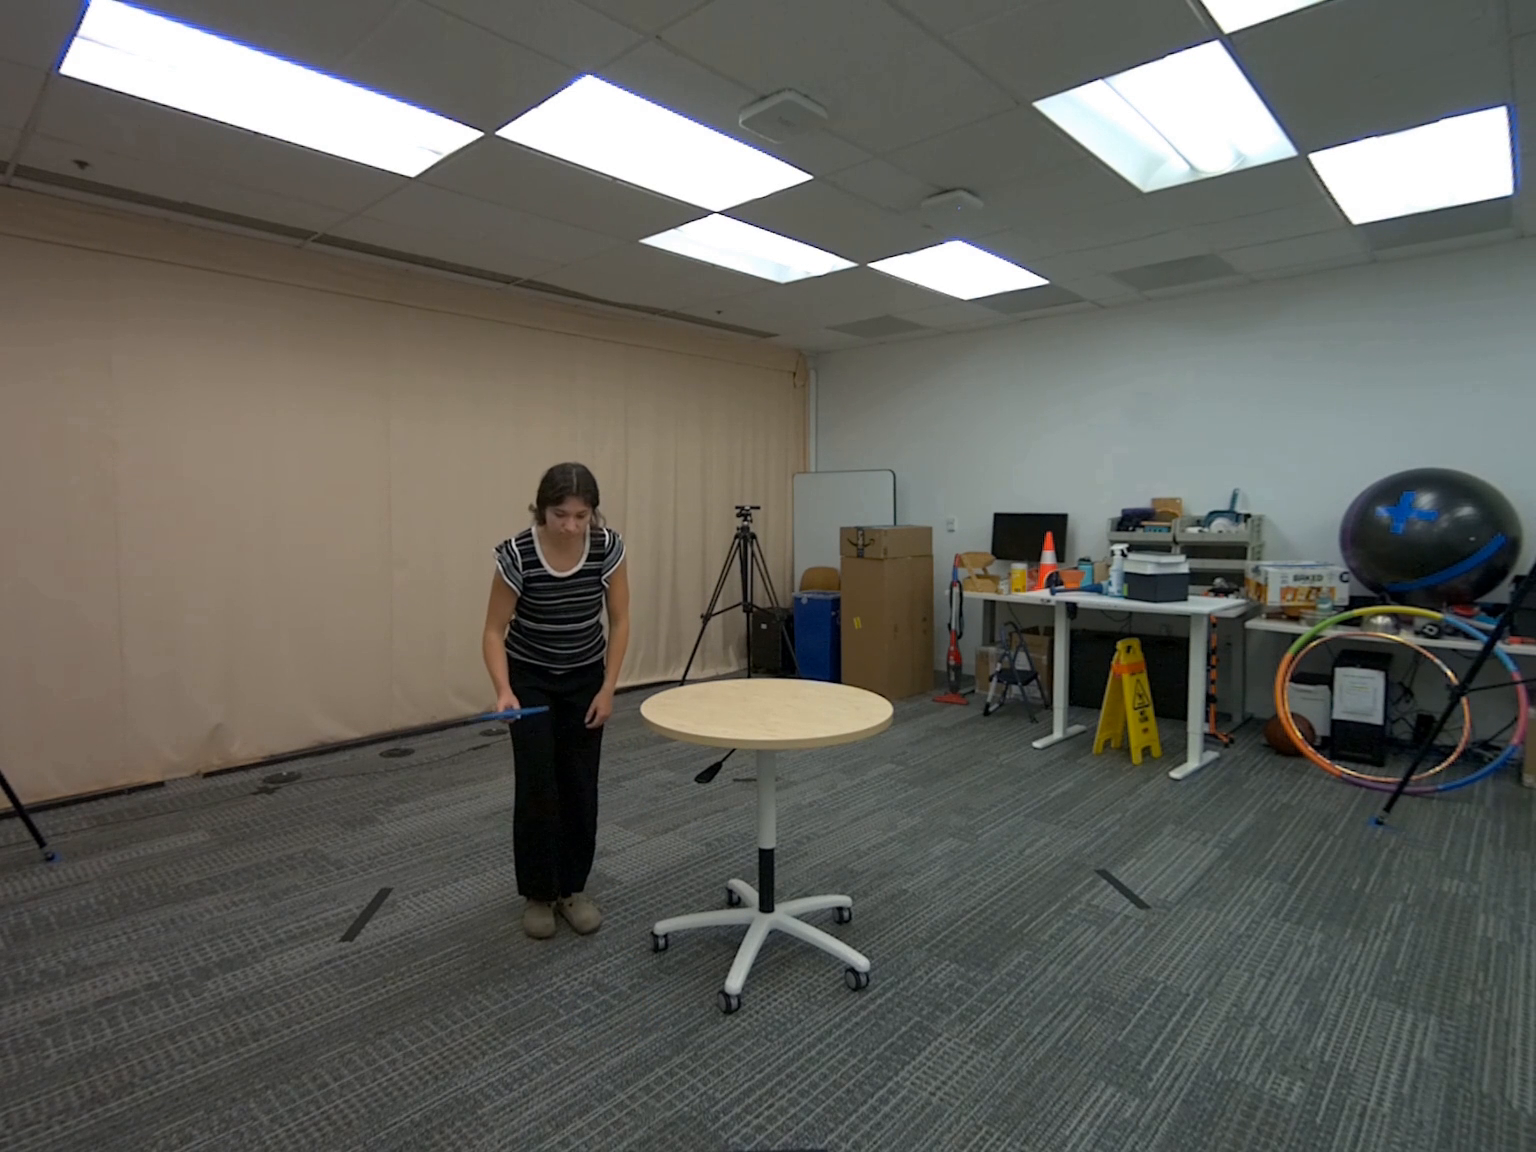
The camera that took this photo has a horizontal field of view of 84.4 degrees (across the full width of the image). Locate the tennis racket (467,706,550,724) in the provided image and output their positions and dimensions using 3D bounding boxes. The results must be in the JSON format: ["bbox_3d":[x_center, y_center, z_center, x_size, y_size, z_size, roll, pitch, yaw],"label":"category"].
[{"bbox_3d":[-0.733,0.399,2.394,0.211,0.032,0.436,-7,-5,-13],"label":"tennis racket"}]
